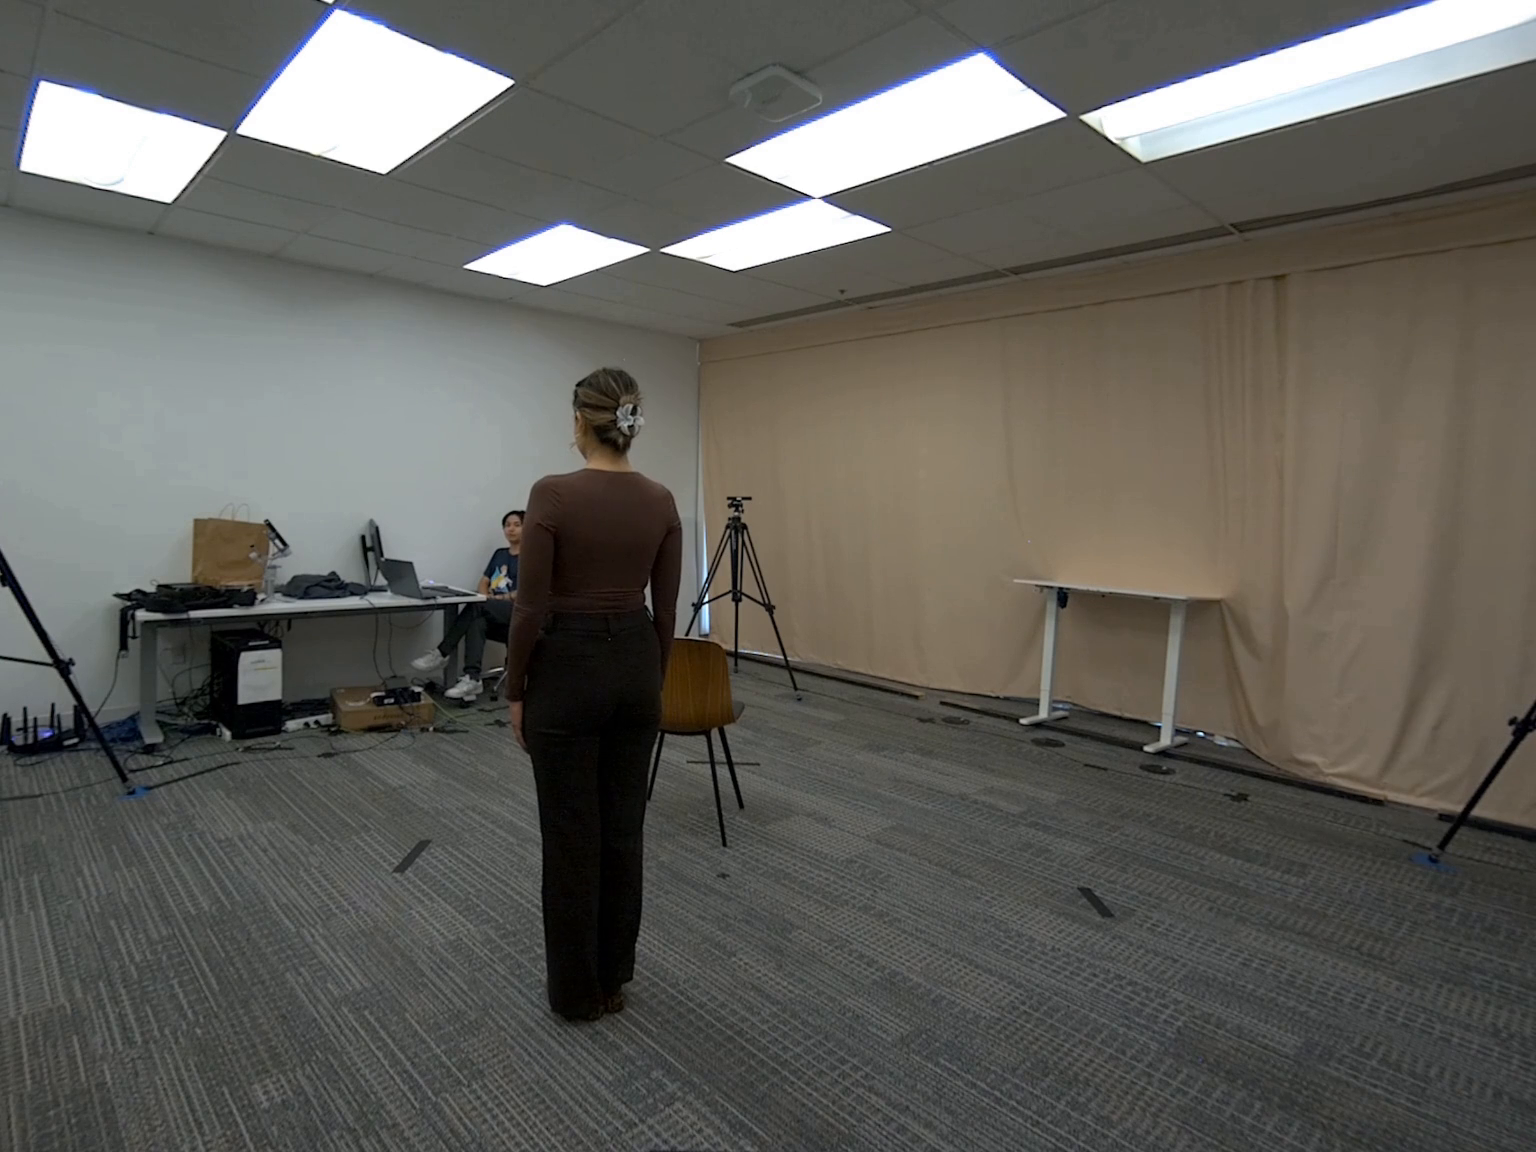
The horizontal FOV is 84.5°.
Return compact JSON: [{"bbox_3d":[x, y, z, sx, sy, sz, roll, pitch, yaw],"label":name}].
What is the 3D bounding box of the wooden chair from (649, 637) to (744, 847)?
[{"bbox_3d":[-0.352,0.631,3.592,0.482,0.873,0.522,1,7,8],"label":"wooden chair"}]
